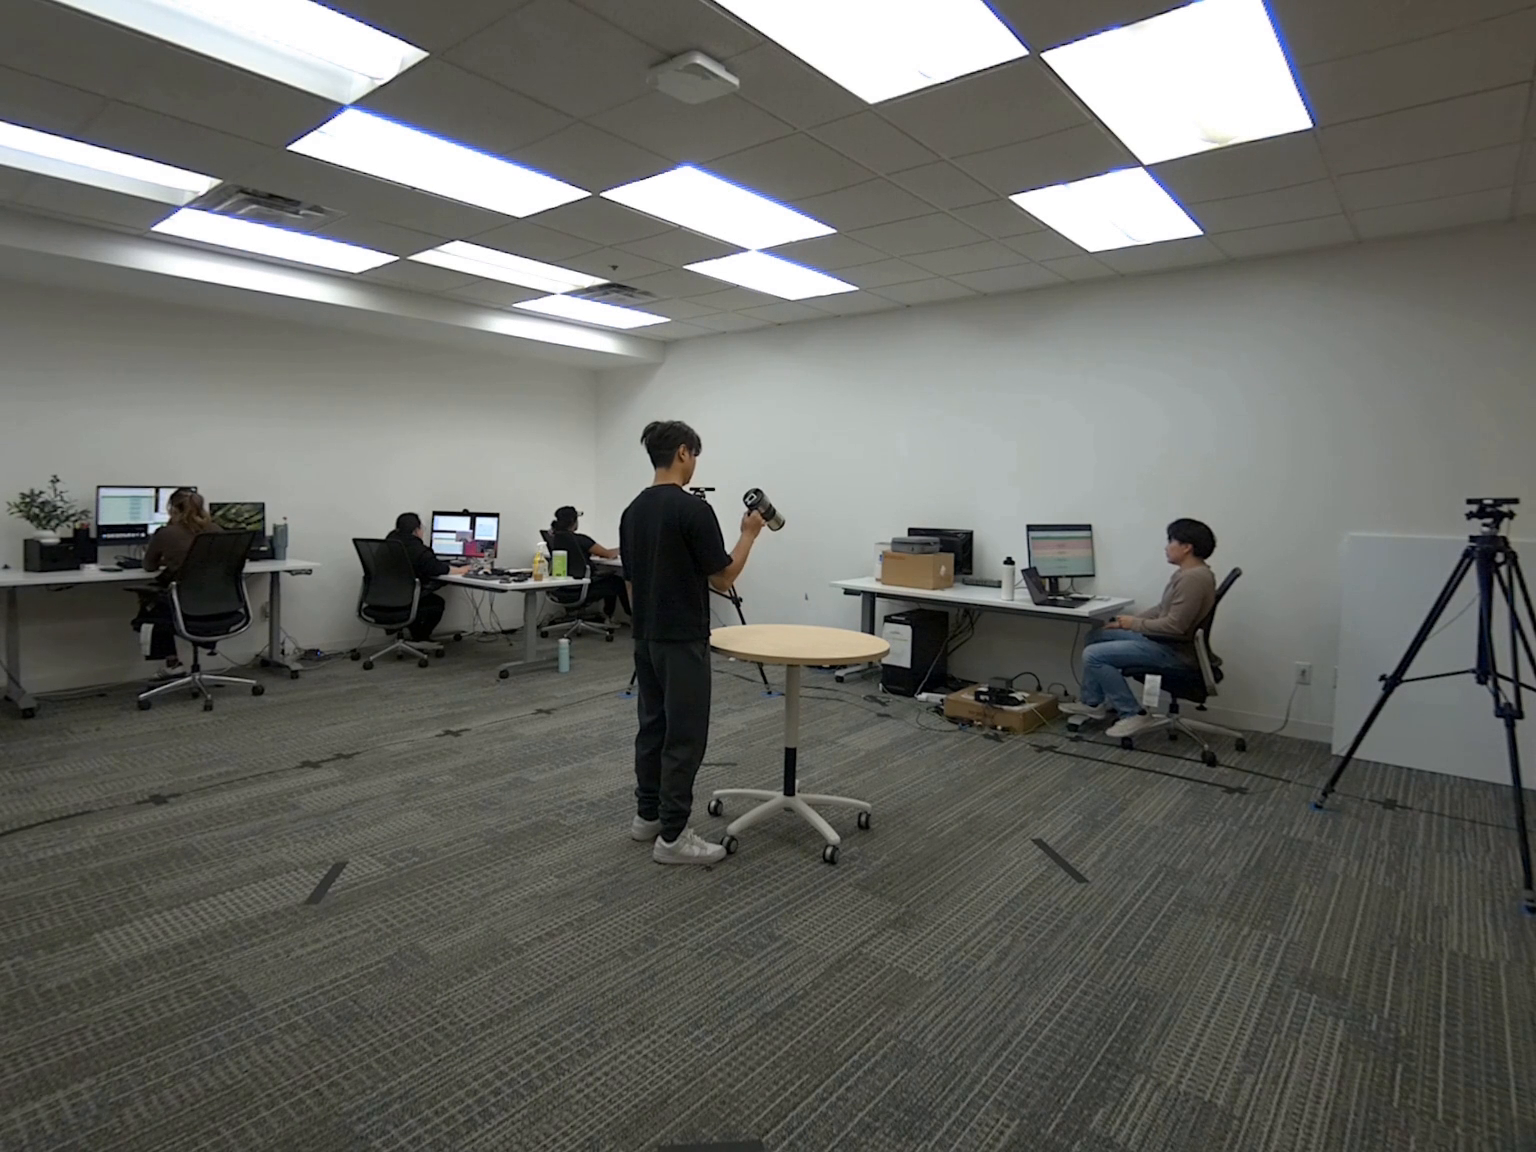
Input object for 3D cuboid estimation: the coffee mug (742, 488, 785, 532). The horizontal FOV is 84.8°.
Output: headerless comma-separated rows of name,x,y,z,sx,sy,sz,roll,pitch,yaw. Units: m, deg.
coffee mug,-0.030,-0.238,3.386,0.092,0.122,0.194,44,-3,47
